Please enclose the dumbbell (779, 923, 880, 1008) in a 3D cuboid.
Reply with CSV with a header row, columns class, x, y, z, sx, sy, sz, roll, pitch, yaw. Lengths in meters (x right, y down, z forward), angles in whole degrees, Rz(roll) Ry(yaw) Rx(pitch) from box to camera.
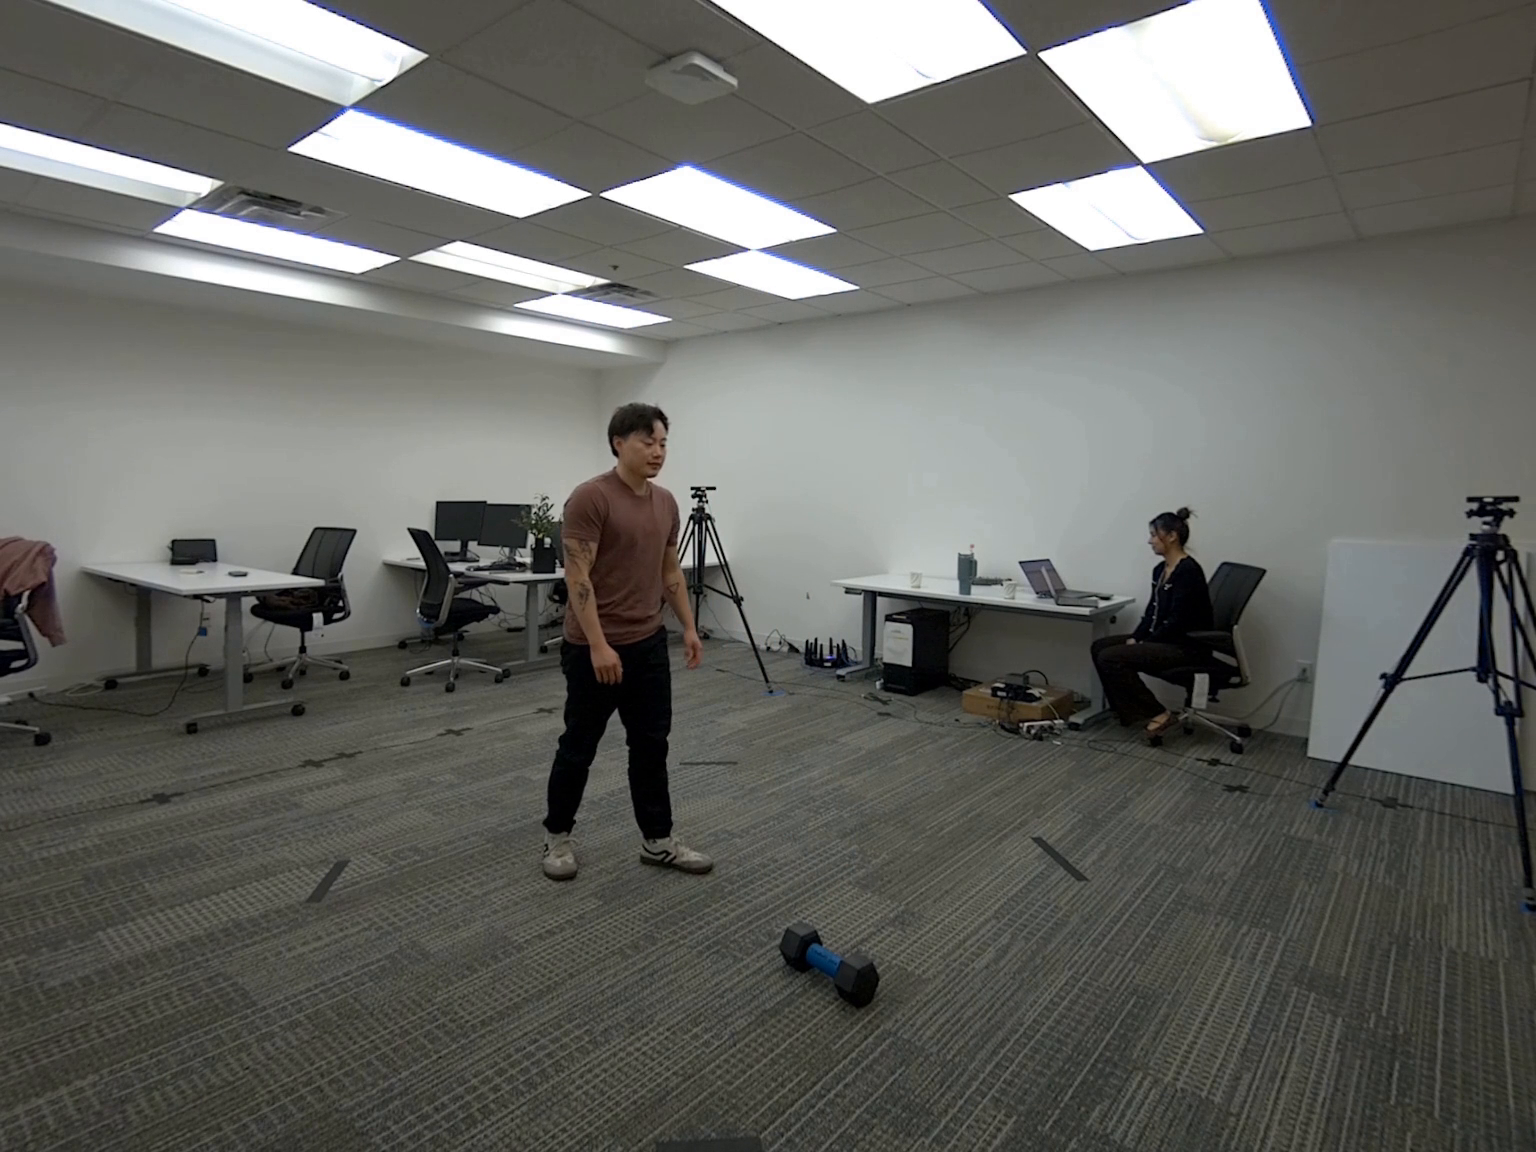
class,x,y,z,sx,sy,sz,roll,pitch,yaw
dumbbell,0.164,1.088,2.403,0.304,0.119,0.108,7,38,48
